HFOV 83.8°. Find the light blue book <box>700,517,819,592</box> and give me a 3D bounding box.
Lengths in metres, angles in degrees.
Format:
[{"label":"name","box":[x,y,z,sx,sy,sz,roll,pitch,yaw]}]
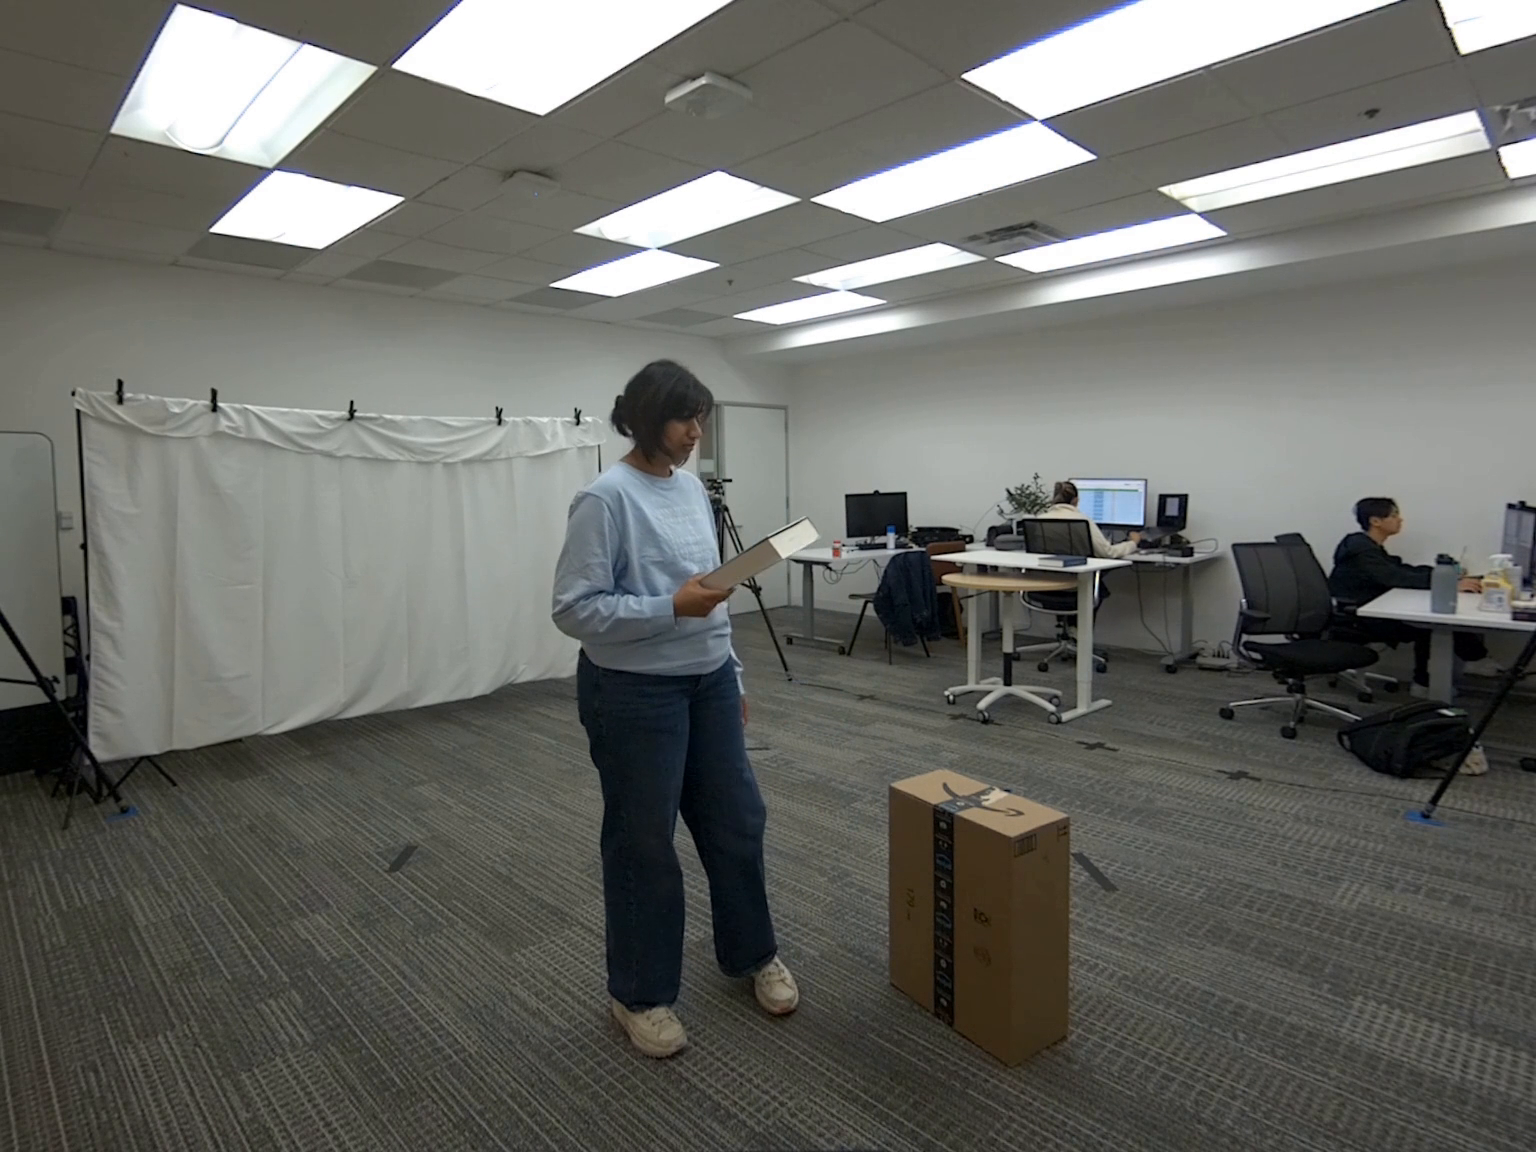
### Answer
[{"label":"light blue book","box":[-0.023,-0.035,1.982,0.264,0.059,0.189,-29,1,35]}]
